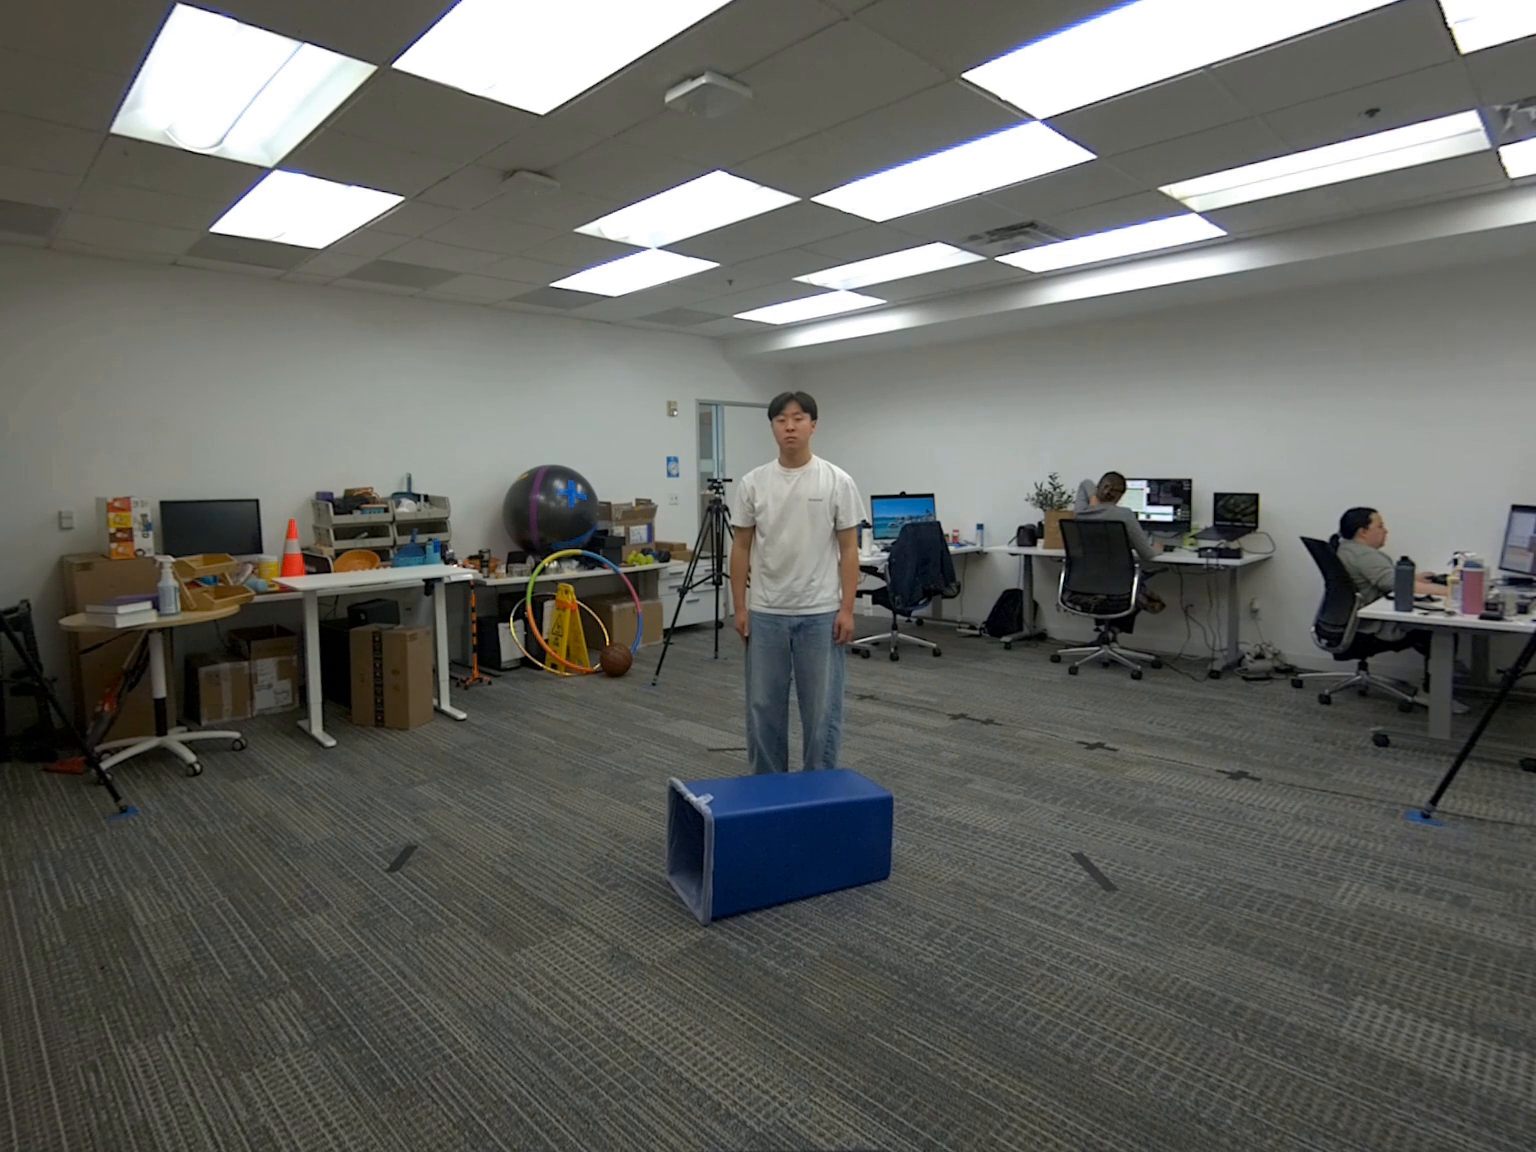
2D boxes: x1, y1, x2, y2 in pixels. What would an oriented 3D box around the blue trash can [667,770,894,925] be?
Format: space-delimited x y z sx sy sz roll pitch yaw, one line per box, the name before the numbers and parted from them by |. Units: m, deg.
blue trash can | 0.045 0.898 2.952 0.698 0.373 0.387 0 4 -24
